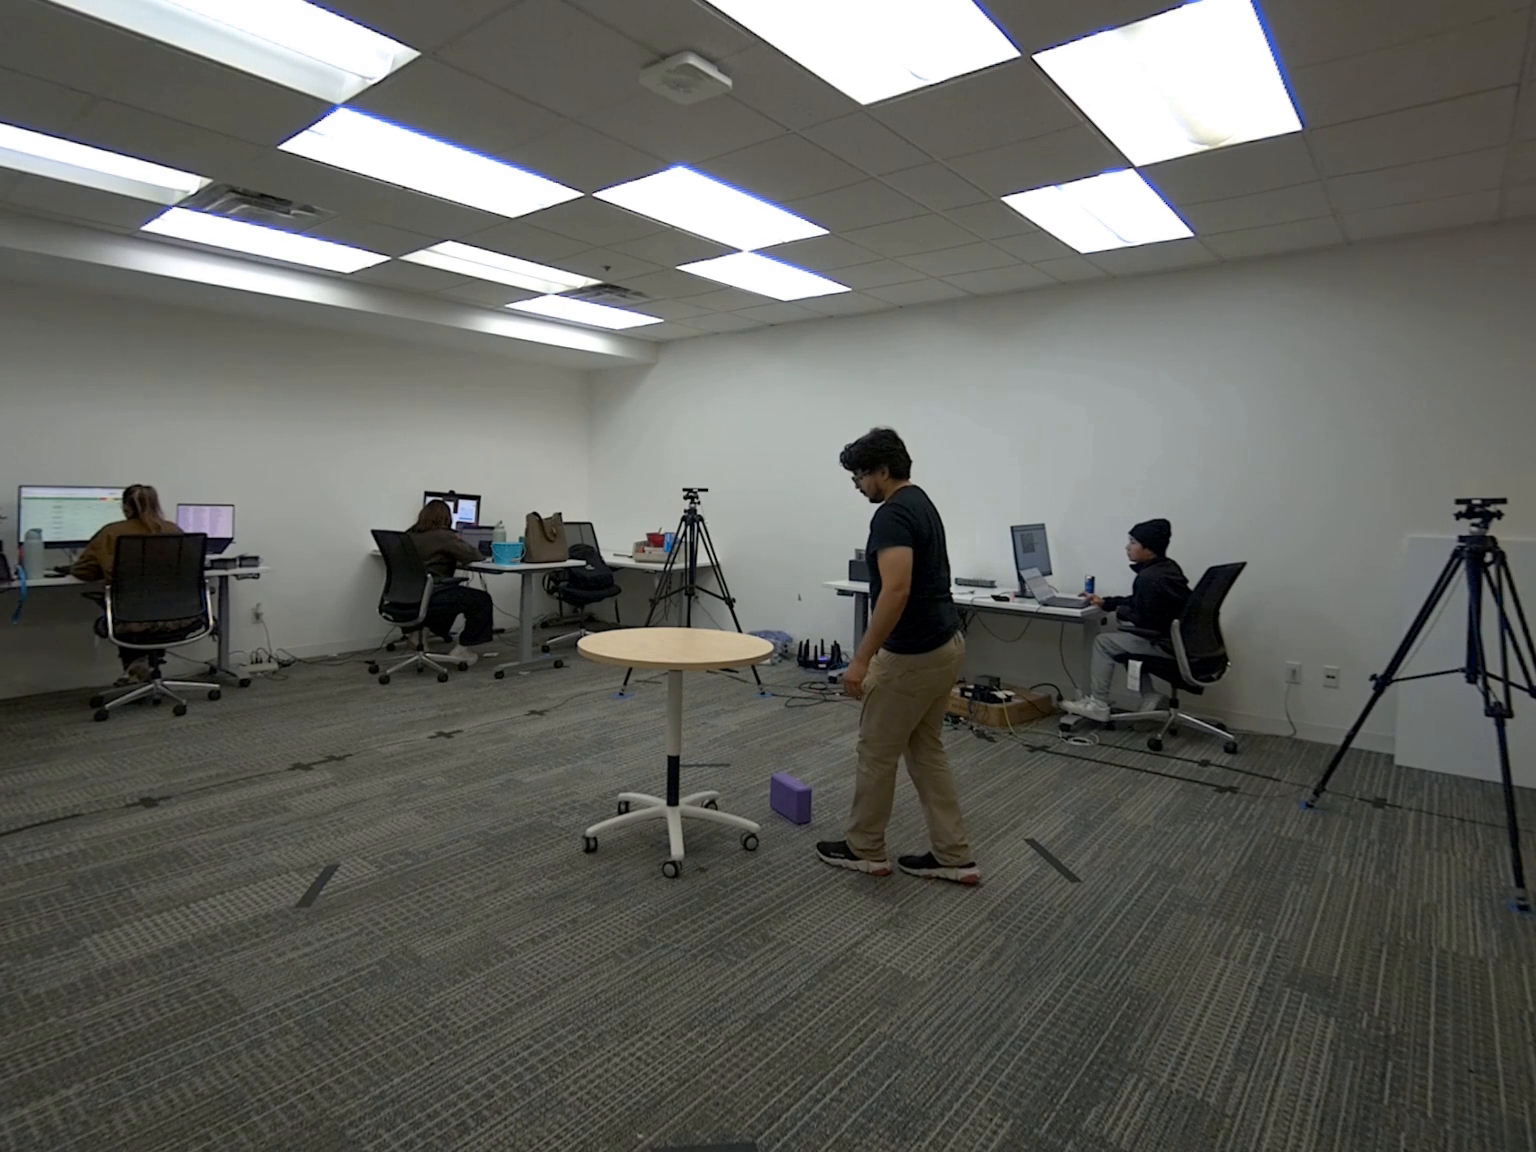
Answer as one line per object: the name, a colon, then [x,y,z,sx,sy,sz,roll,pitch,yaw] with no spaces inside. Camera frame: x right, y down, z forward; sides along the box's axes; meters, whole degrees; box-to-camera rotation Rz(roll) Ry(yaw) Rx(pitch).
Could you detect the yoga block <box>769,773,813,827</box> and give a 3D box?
yoga block: [0.087,0.946,3.652,0.074,0.148,0.236,-2,6,-30]
